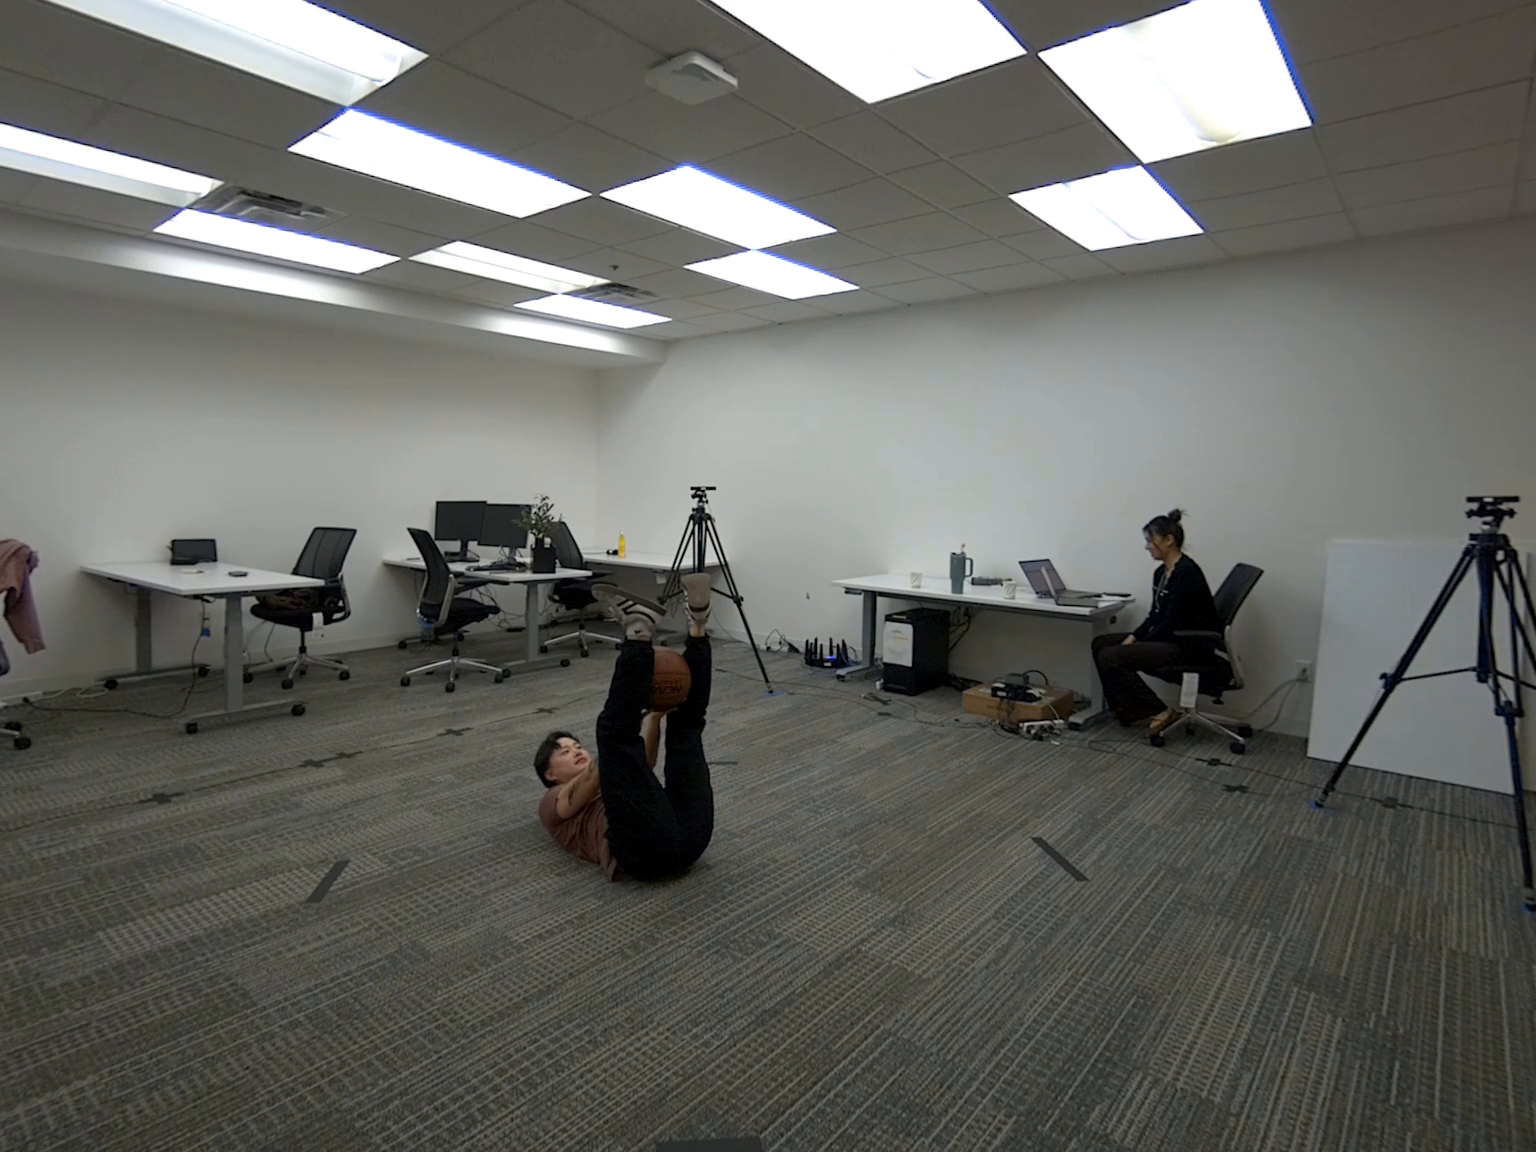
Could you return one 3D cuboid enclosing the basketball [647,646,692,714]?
[{"bbox_3d":[-0.402,0.371,3.099,0.235,0.235,0.237,1,5,-2],"label":"basketball"}]
